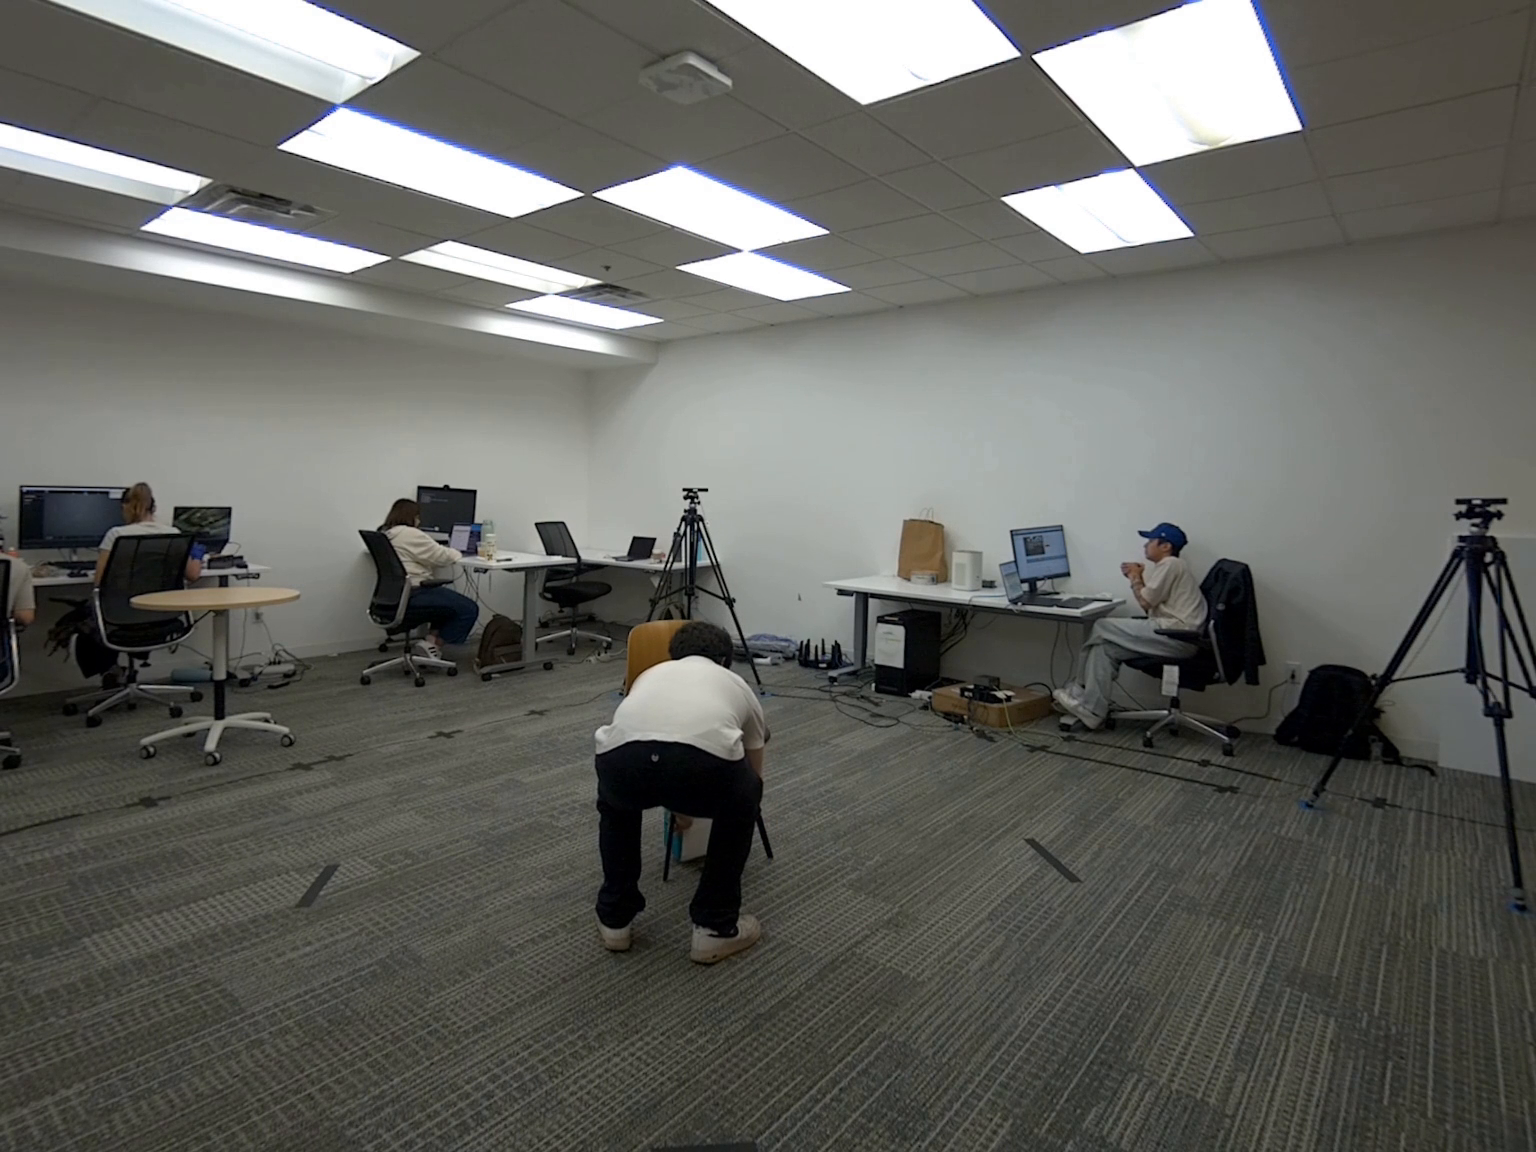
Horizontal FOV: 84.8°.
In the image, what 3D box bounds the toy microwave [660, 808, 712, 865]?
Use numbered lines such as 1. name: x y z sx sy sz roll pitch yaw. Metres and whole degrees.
1. toy microwave: -0.249 0.941 3.206 0.279 0.182 0.157 -5 11 -30
